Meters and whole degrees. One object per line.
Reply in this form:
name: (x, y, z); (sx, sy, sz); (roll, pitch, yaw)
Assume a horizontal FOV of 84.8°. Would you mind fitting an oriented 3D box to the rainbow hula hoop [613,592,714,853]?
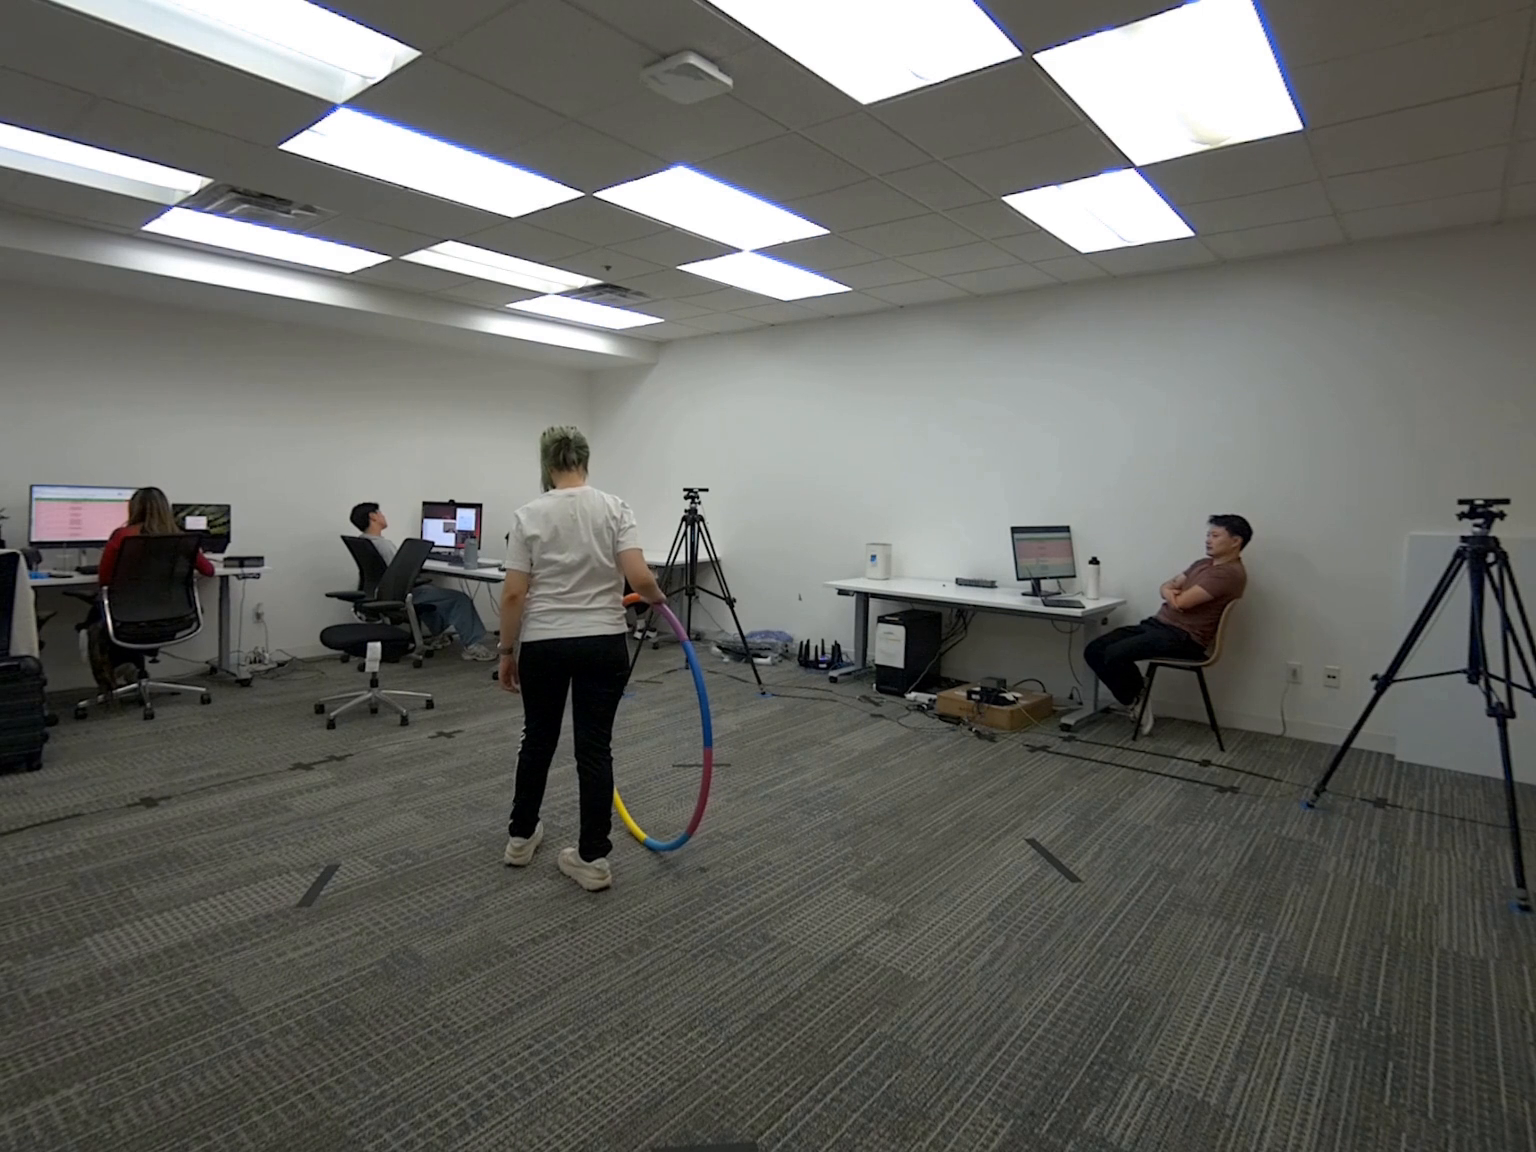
rainbow hula hoop: (-0.491, 0.556, 3.308); (0.034, 0.975, 1.010); (-1, 5, -34)
